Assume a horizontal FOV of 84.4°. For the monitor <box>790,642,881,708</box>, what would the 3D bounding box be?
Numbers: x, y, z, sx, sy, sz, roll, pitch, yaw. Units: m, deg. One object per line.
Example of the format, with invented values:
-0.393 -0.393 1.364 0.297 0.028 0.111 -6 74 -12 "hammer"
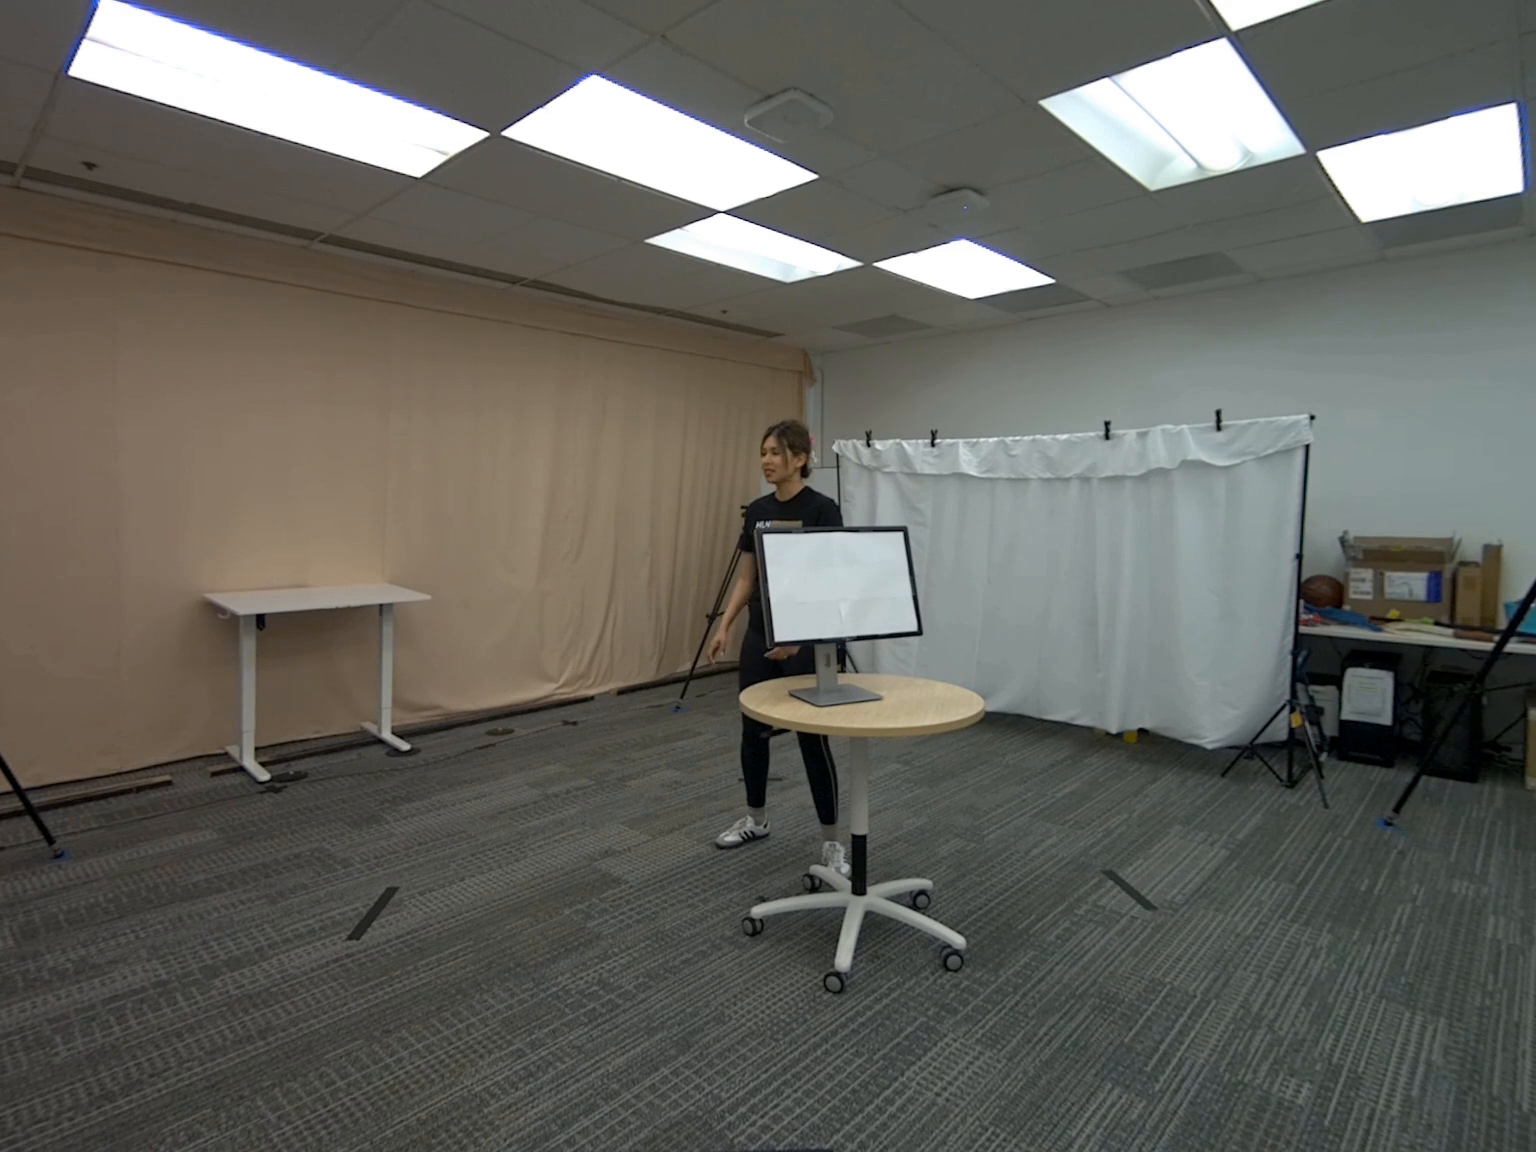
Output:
0.209 0.125 2.677 0.525 0.522 0.192 -2 3 -29 "monitor"
